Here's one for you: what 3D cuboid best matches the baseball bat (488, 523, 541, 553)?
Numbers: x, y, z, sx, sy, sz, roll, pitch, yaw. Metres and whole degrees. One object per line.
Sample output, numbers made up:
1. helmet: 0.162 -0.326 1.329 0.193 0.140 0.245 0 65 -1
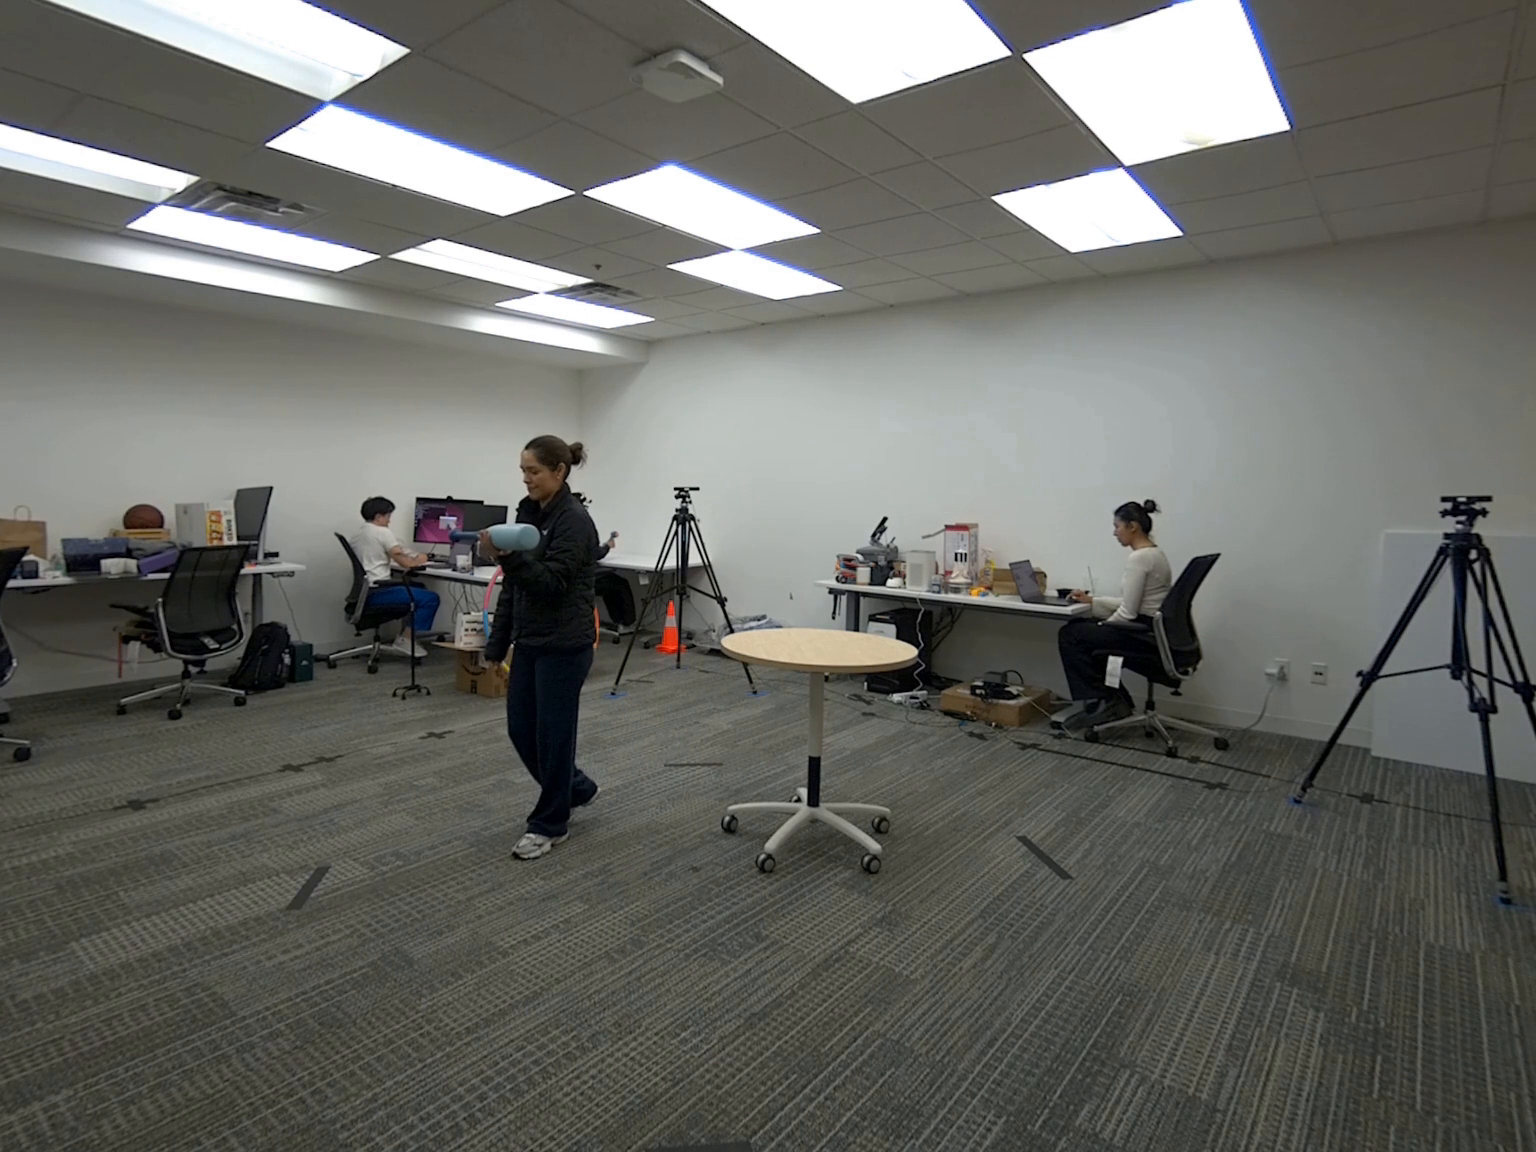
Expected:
1. baseball bat: -0.966 -0.139 2.981 0.086 0.089 0.561 -3 5 -40
